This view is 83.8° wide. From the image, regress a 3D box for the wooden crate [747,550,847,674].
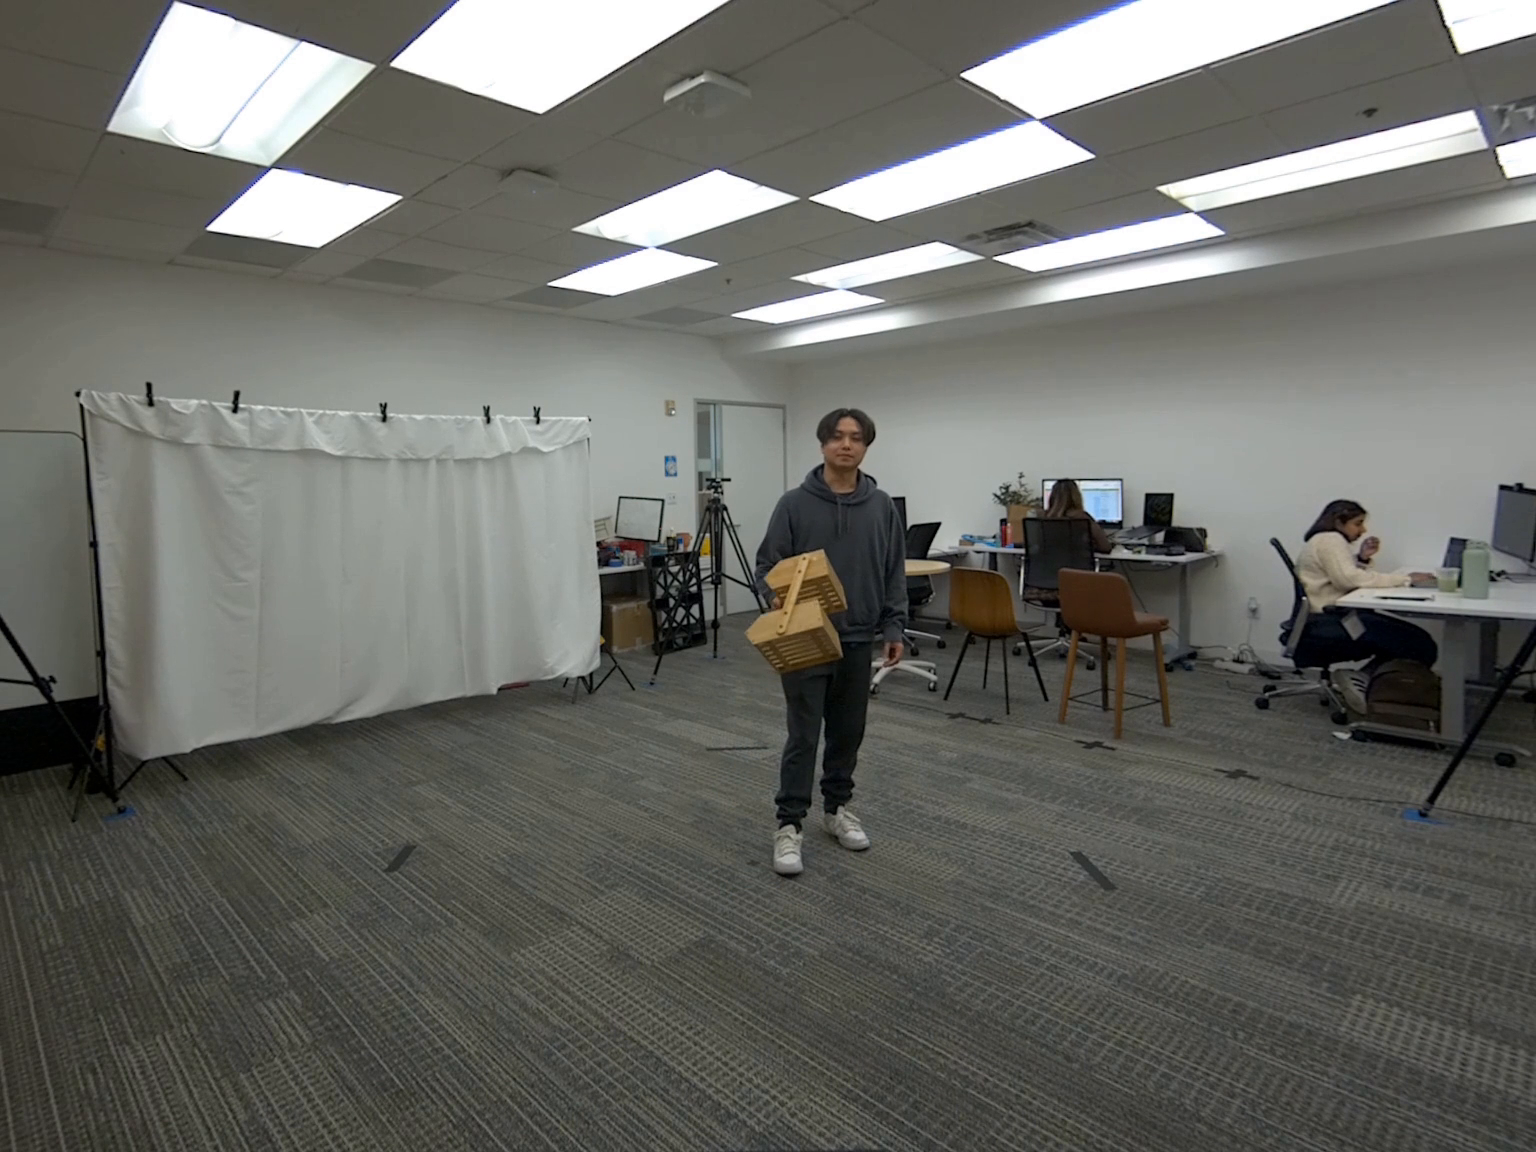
[{"bbox_3d":[0.086,0.126,2.853,0.304,0.281,0.313,-16,-29,11],"label":"wooden crate"}]
